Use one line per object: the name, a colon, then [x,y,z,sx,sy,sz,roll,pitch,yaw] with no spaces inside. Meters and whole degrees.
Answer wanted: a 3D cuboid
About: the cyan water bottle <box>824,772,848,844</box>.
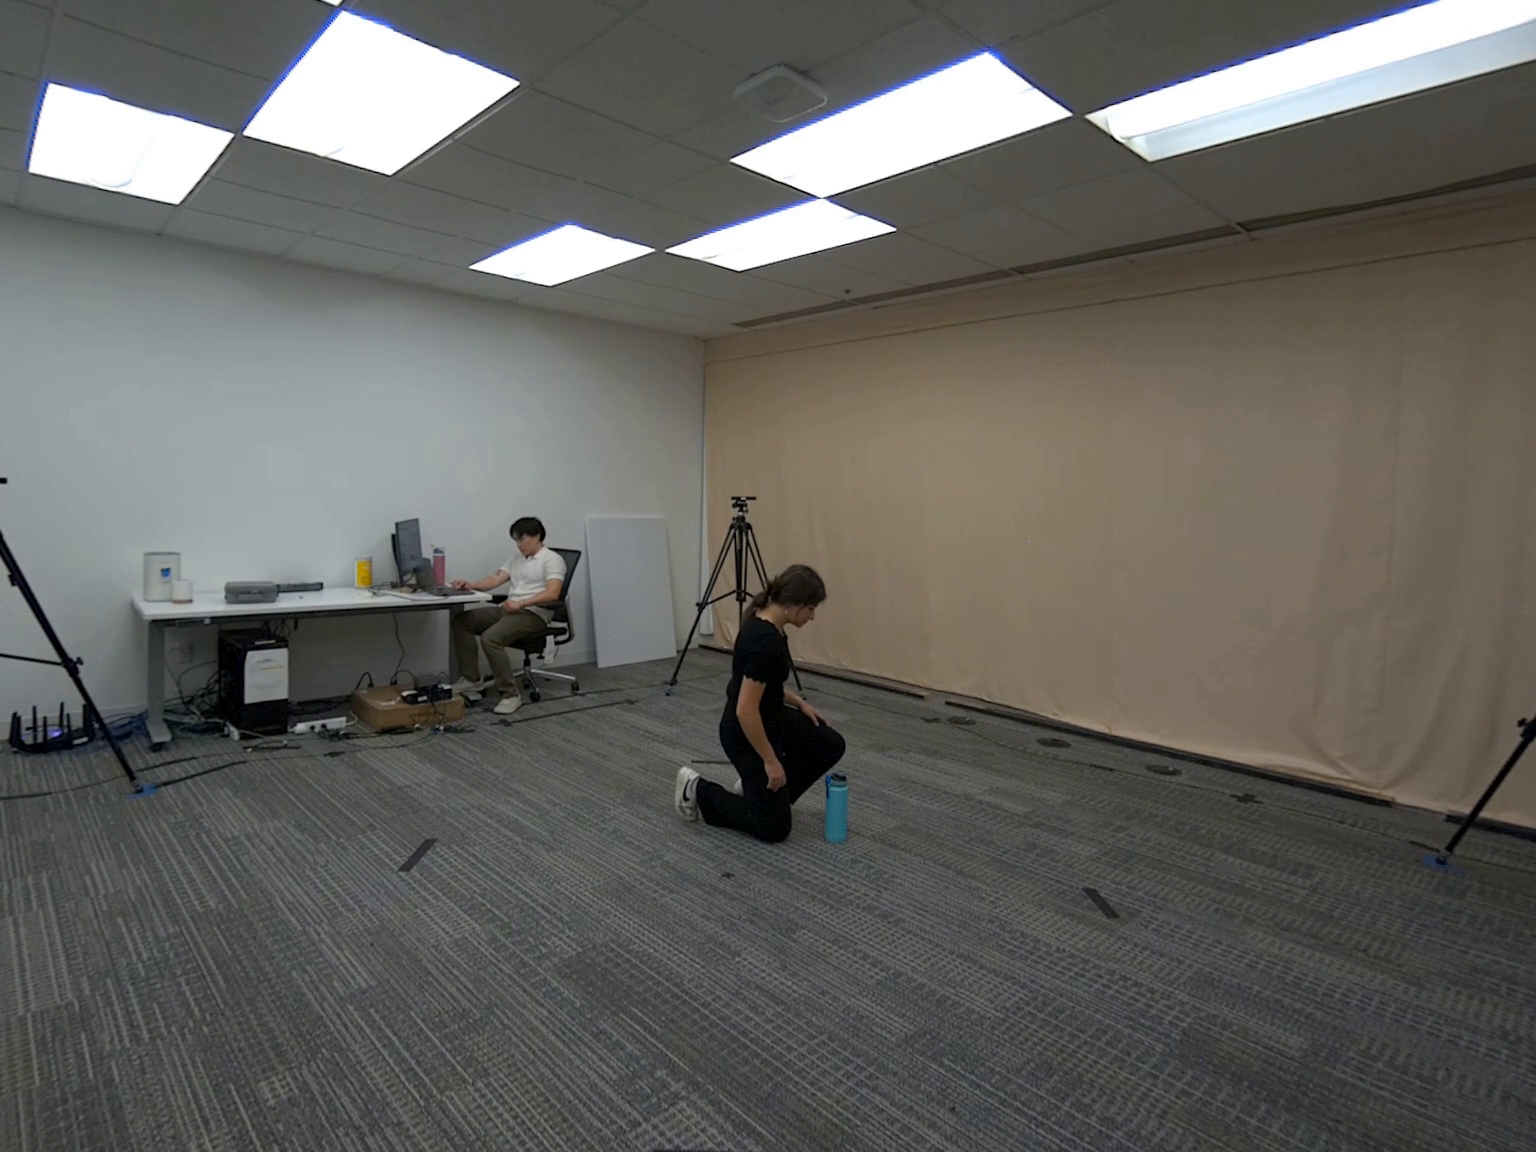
cyan water bottle: [0.262,0.947,3.474,0.092,0.283,0.092,1,1,-1]
